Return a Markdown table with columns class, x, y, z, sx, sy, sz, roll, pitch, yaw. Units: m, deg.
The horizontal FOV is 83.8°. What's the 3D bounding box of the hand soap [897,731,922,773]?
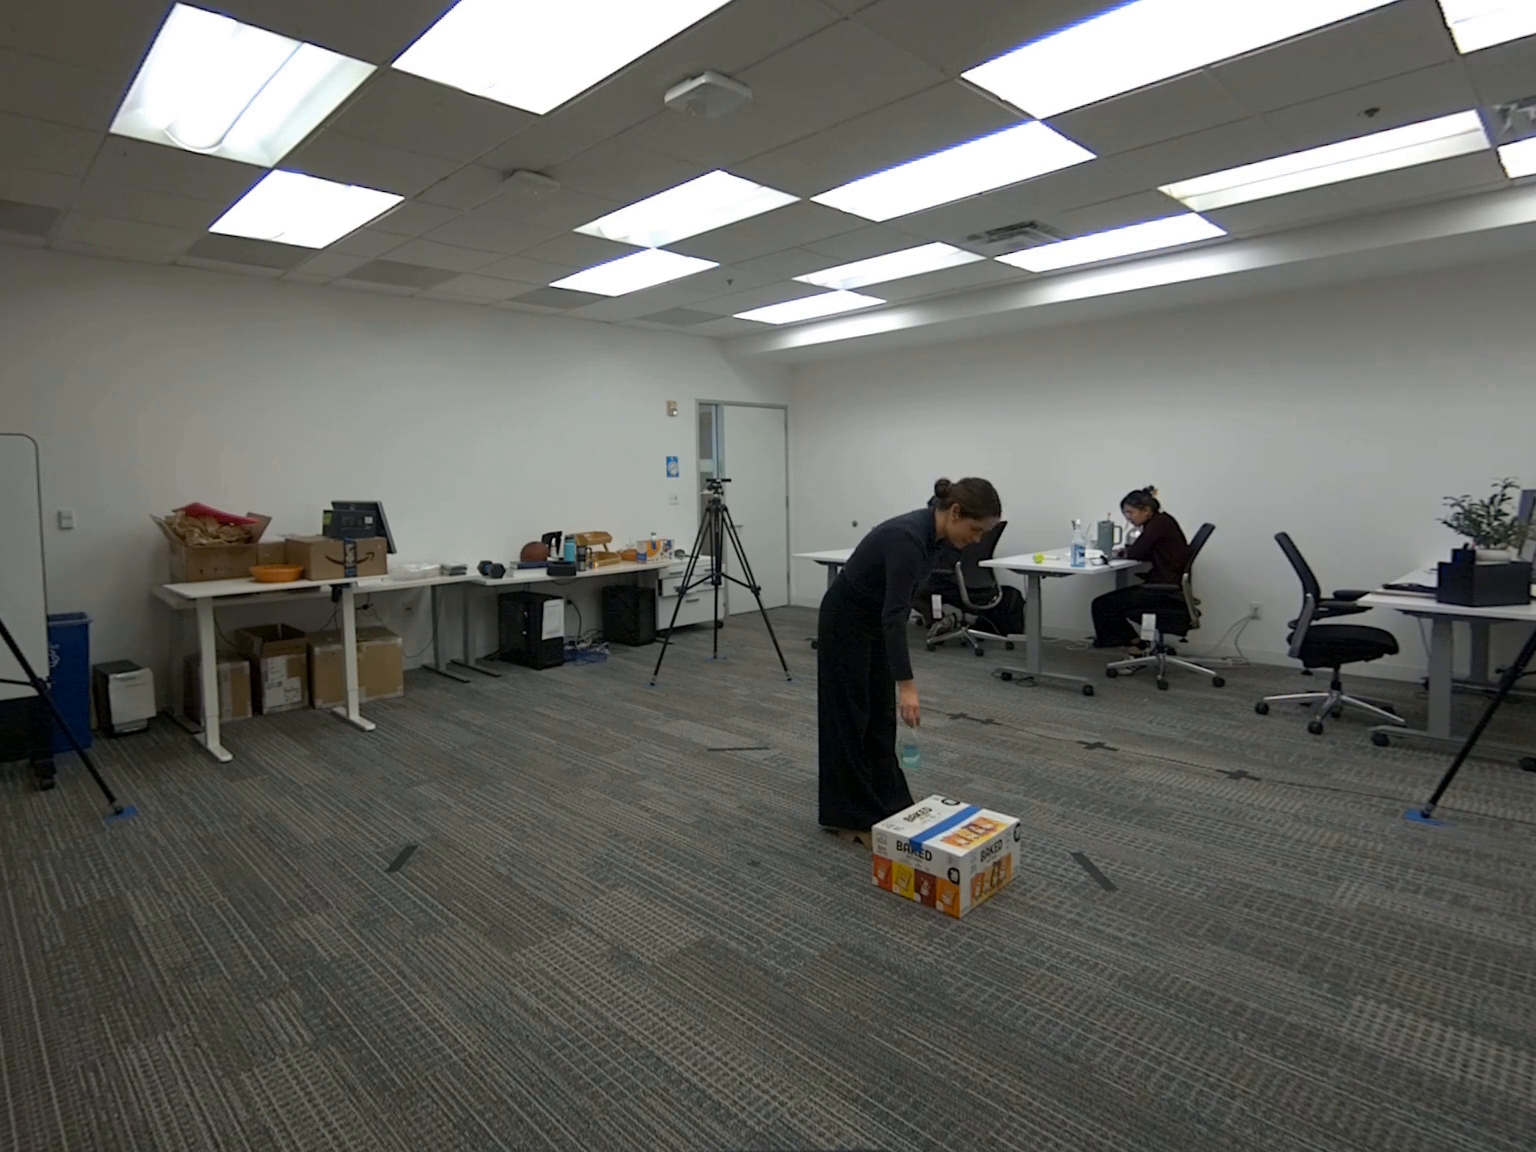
| class | x | y | z | sx | sy | sz | roll | pitch | yaw |
| --- | --- | --- | --- | --- | --- | --- | --- | --- | --- |
| hand soap | 0.505 | 0.620 | 2.937 | 0.084 | 0.168 | 0.043 | 10 | -2 | -7 |
